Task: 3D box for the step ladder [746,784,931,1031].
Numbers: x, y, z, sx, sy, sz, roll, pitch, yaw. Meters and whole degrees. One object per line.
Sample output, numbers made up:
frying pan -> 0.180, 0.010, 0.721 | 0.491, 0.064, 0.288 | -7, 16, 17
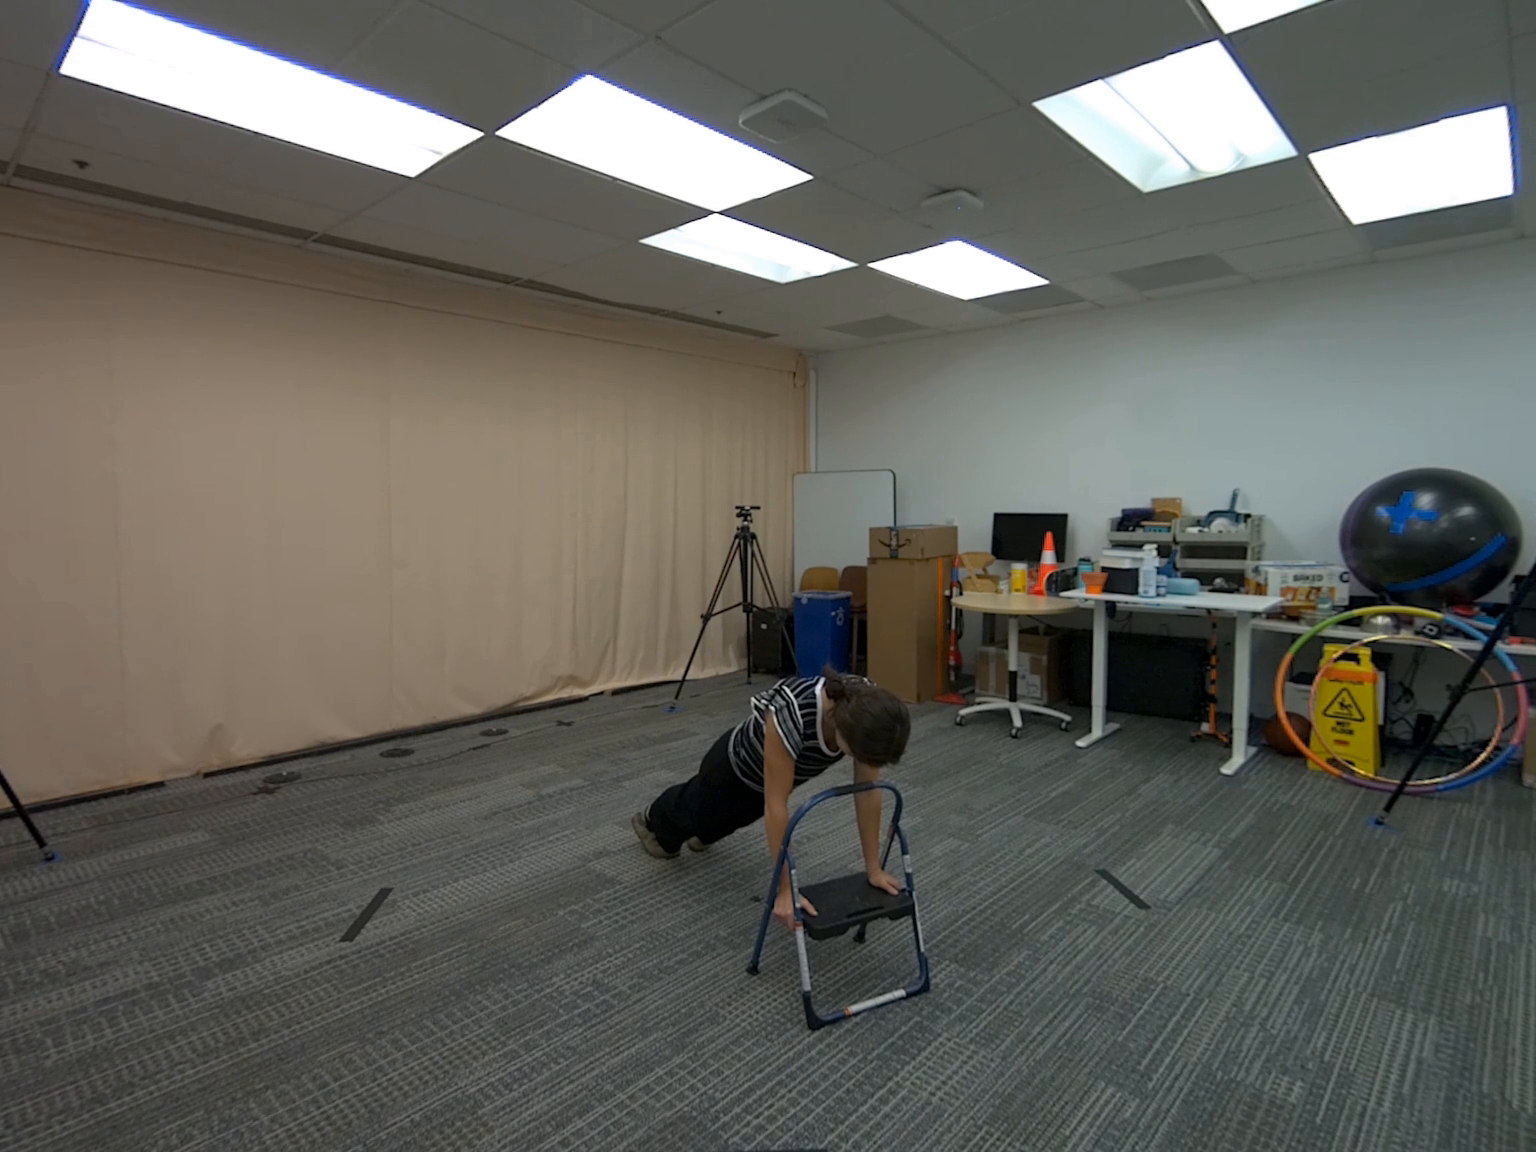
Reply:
step ladder -> 0.212, 0.888, 2.454 | 0.419, 0.604, 0.359 | -2, 5, -30
